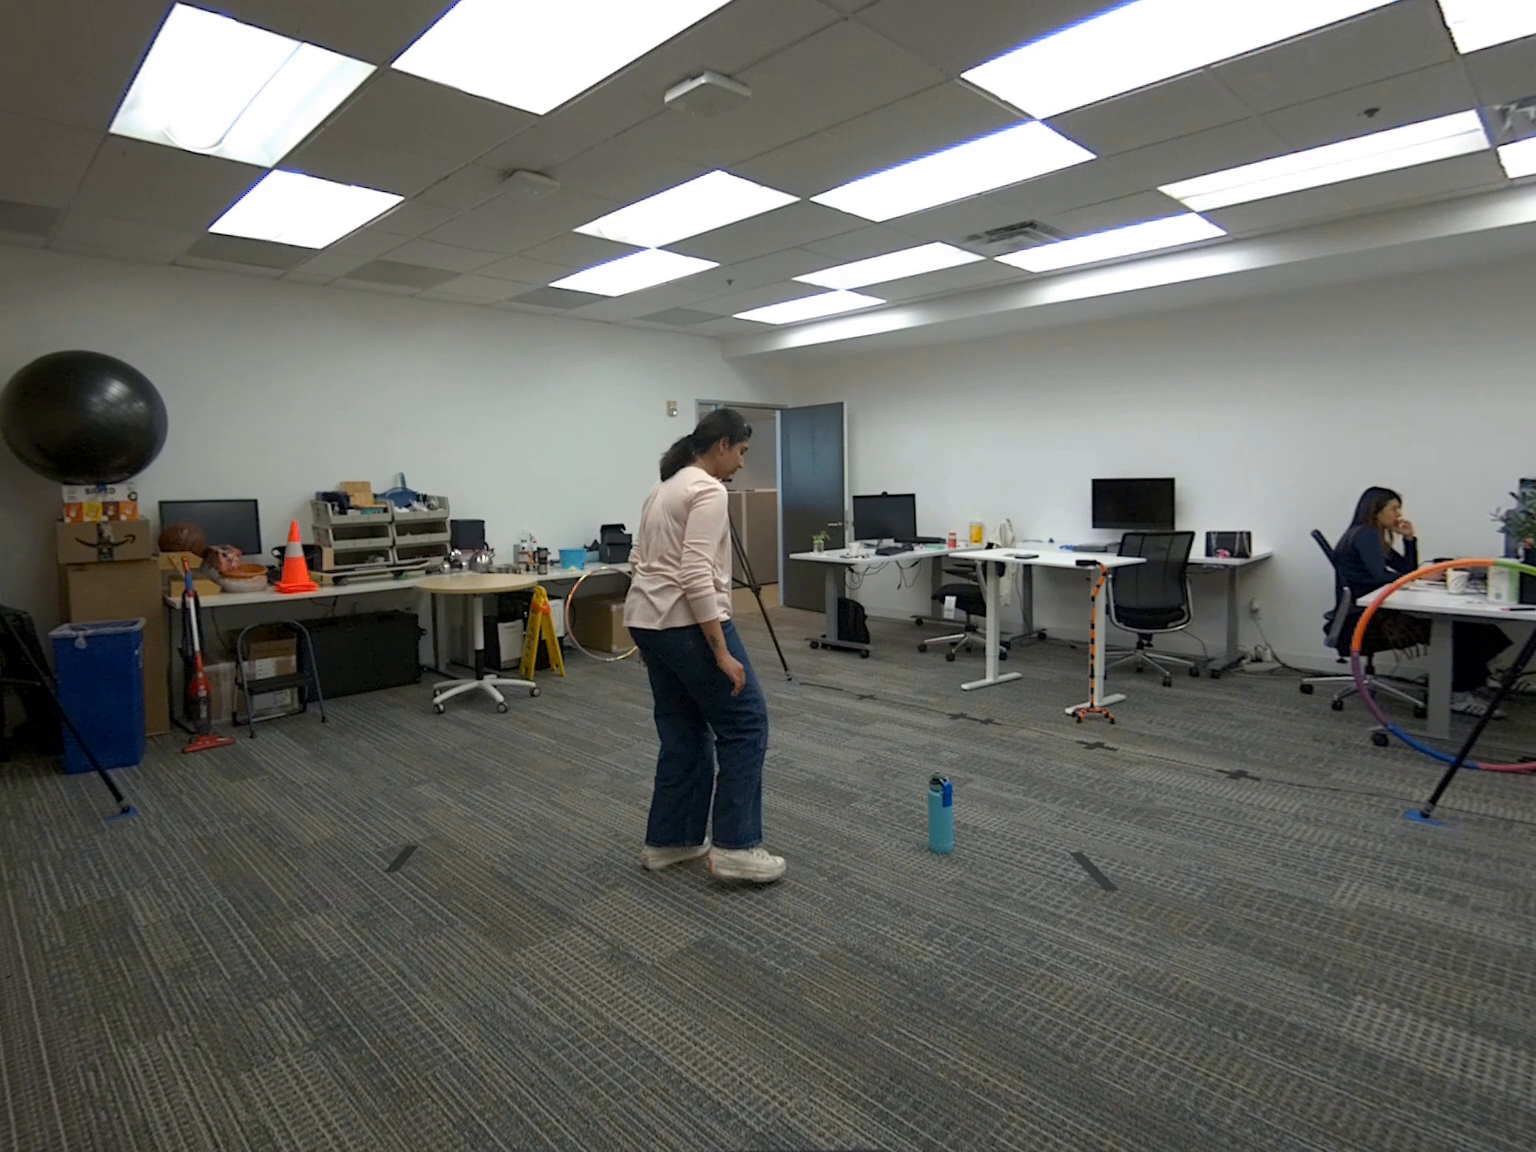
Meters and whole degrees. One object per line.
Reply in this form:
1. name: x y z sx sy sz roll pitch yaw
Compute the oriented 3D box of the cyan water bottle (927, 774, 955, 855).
1. cyan water bottle: 0.644 0.877 3.190 0.092 0.282 0.093 -1 4 -2
